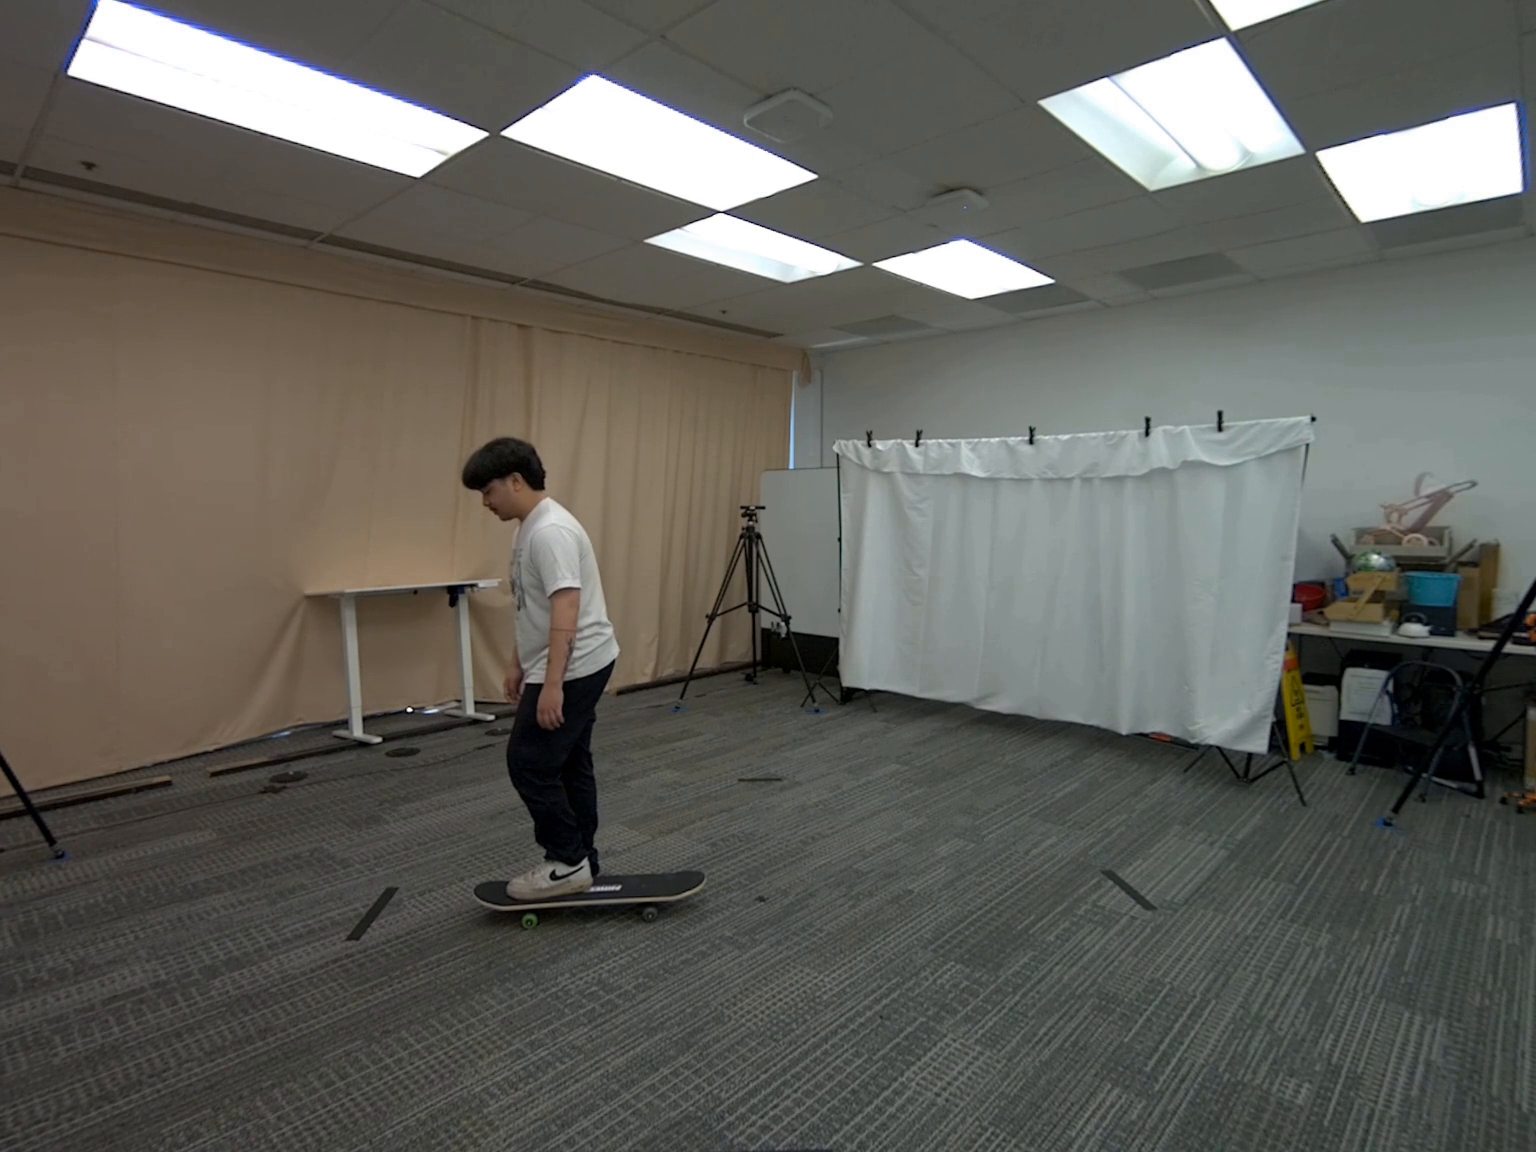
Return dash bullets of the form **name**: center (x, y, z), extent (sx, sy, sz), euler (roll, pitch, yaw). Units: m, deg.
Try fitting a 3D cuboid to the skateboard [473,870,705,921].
- **skateboard**: center (-0.597, 1.096, 2.878), extent (0.780, 0.110, 0.195), euler (0, 5, -6)
